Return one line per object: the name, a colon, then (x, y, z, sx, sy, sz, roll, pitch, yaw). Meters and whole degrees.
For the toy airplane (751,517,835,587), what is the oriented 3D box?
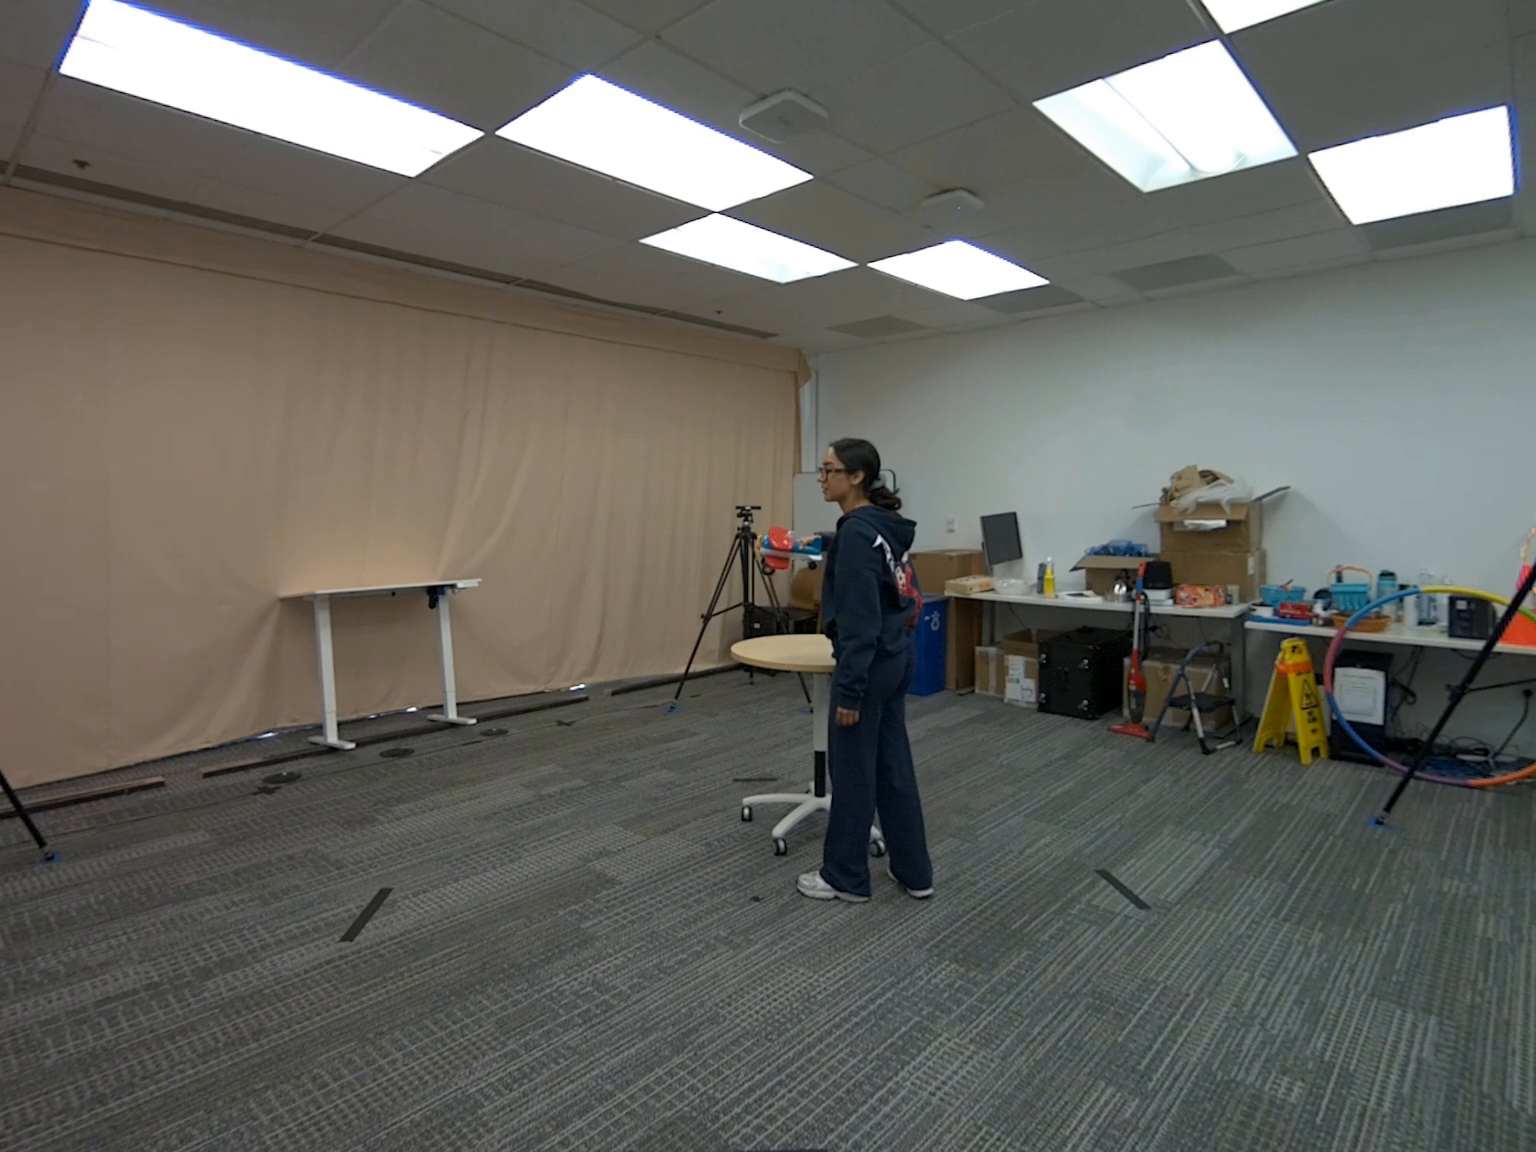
toy airplane: (0.112, -0.103, 3.349, 0.254, 0.154, 0.259, -14, 22, -22)
